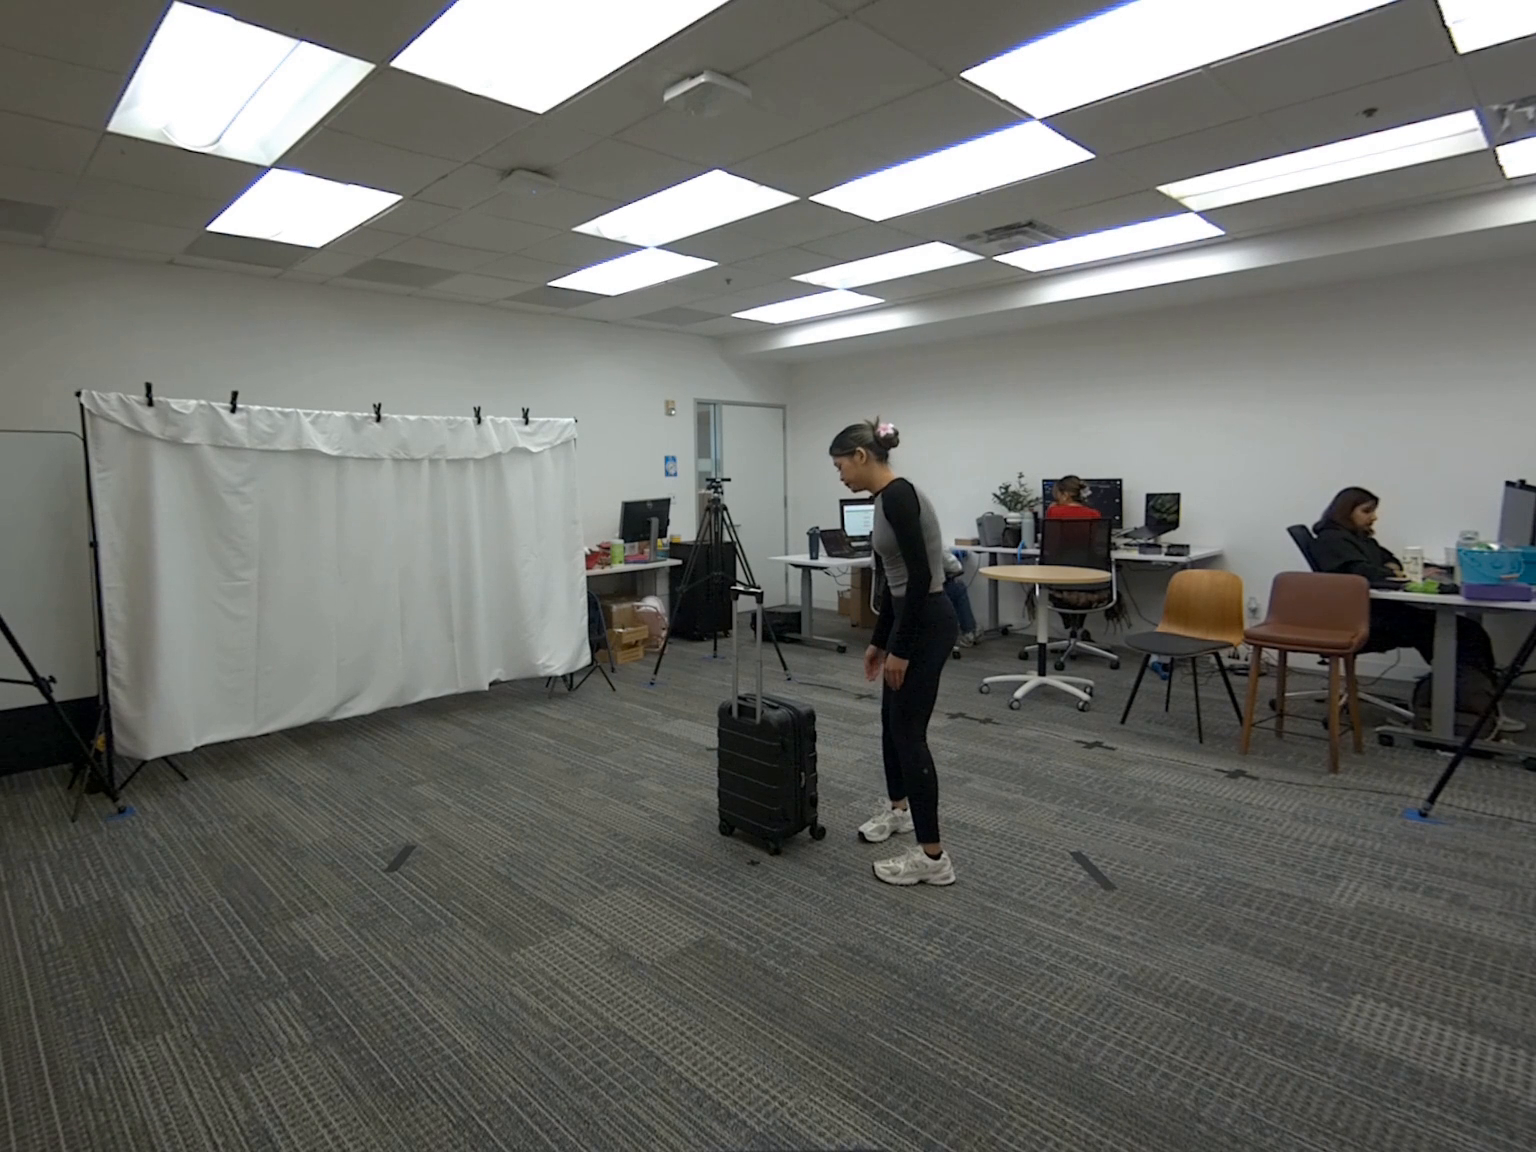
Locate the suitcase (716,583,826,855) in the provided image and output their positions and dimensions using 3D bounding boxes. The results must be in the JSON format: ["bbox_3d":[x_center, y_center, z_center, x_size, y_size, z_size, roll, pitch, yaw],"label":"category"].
[{"bbox_3d":[-0.006,0.538,3.317,0.250,0.976,0.396,-4,4,-45],"label":"suitcase"}]
